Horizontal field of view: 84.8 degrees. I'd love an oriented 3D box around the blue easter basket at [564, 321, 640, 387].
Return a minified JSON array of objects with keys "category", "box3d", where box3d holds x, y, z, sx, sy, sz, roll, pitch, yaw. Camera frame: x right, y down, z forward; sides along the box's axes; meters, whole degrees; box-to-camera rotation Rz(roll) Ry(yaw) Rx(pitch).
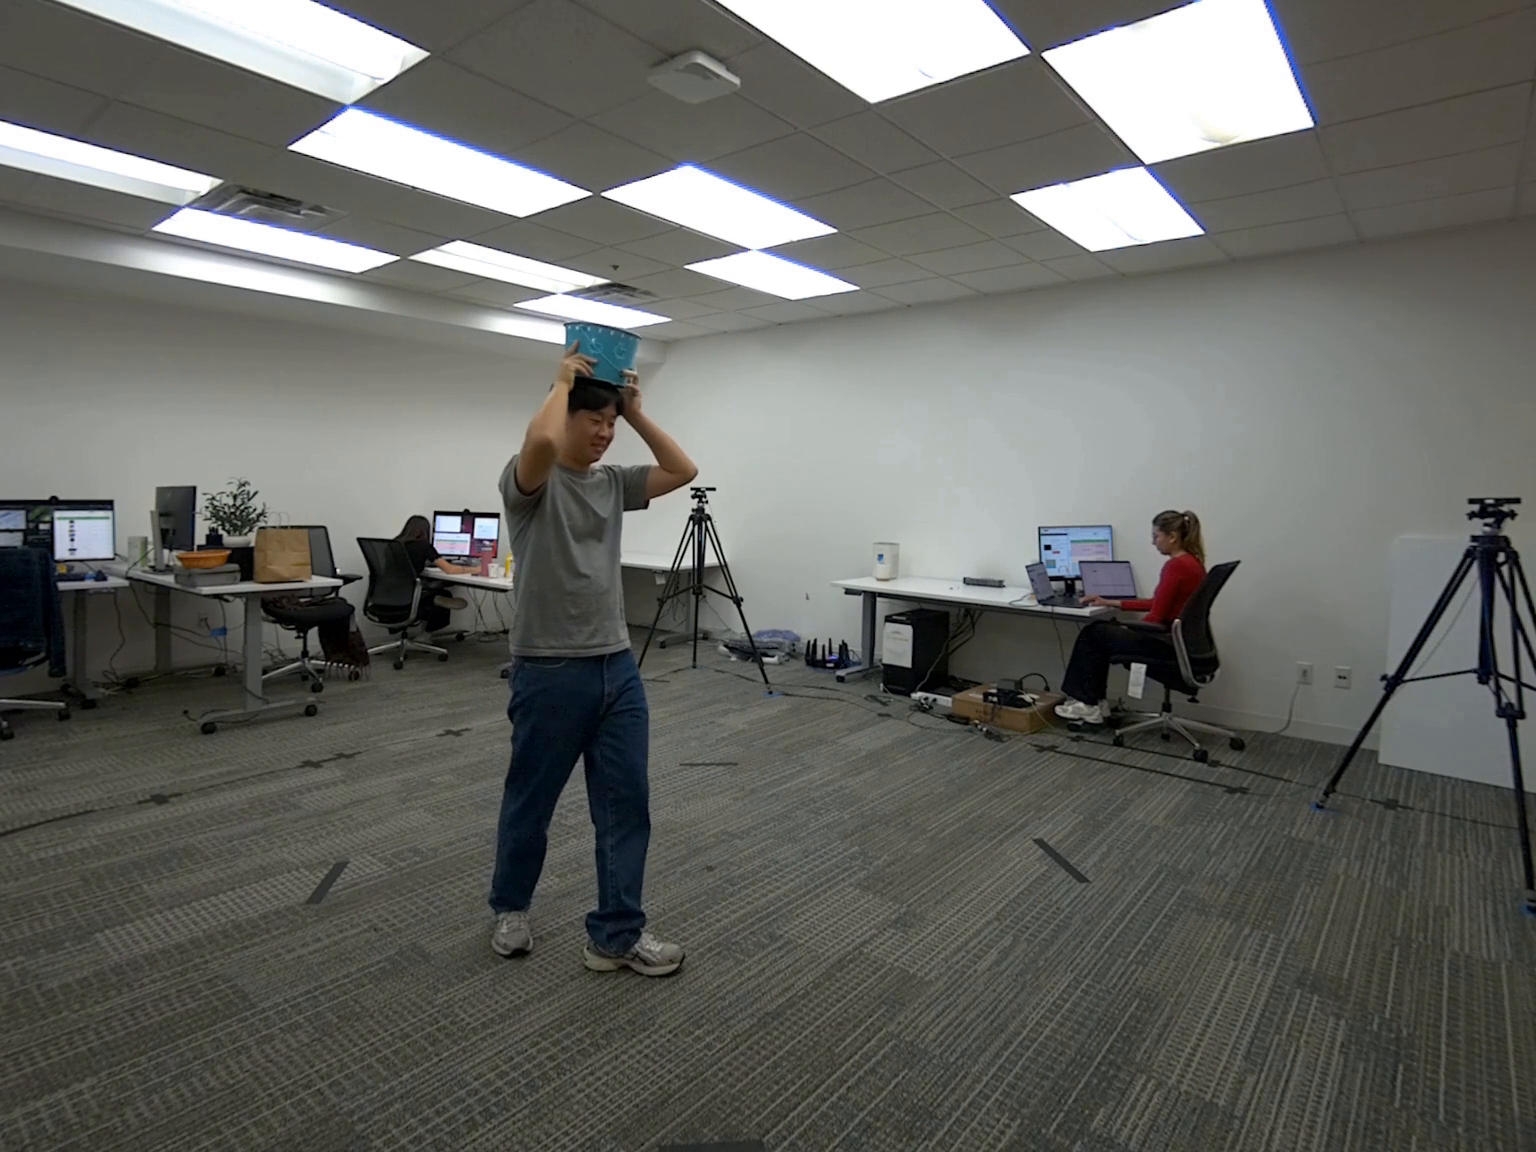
[{"category":"blue easter basket","box3d":[-0.514,-0.654,2.505,0.243,0.155,0.245,11,5,-3]}]
